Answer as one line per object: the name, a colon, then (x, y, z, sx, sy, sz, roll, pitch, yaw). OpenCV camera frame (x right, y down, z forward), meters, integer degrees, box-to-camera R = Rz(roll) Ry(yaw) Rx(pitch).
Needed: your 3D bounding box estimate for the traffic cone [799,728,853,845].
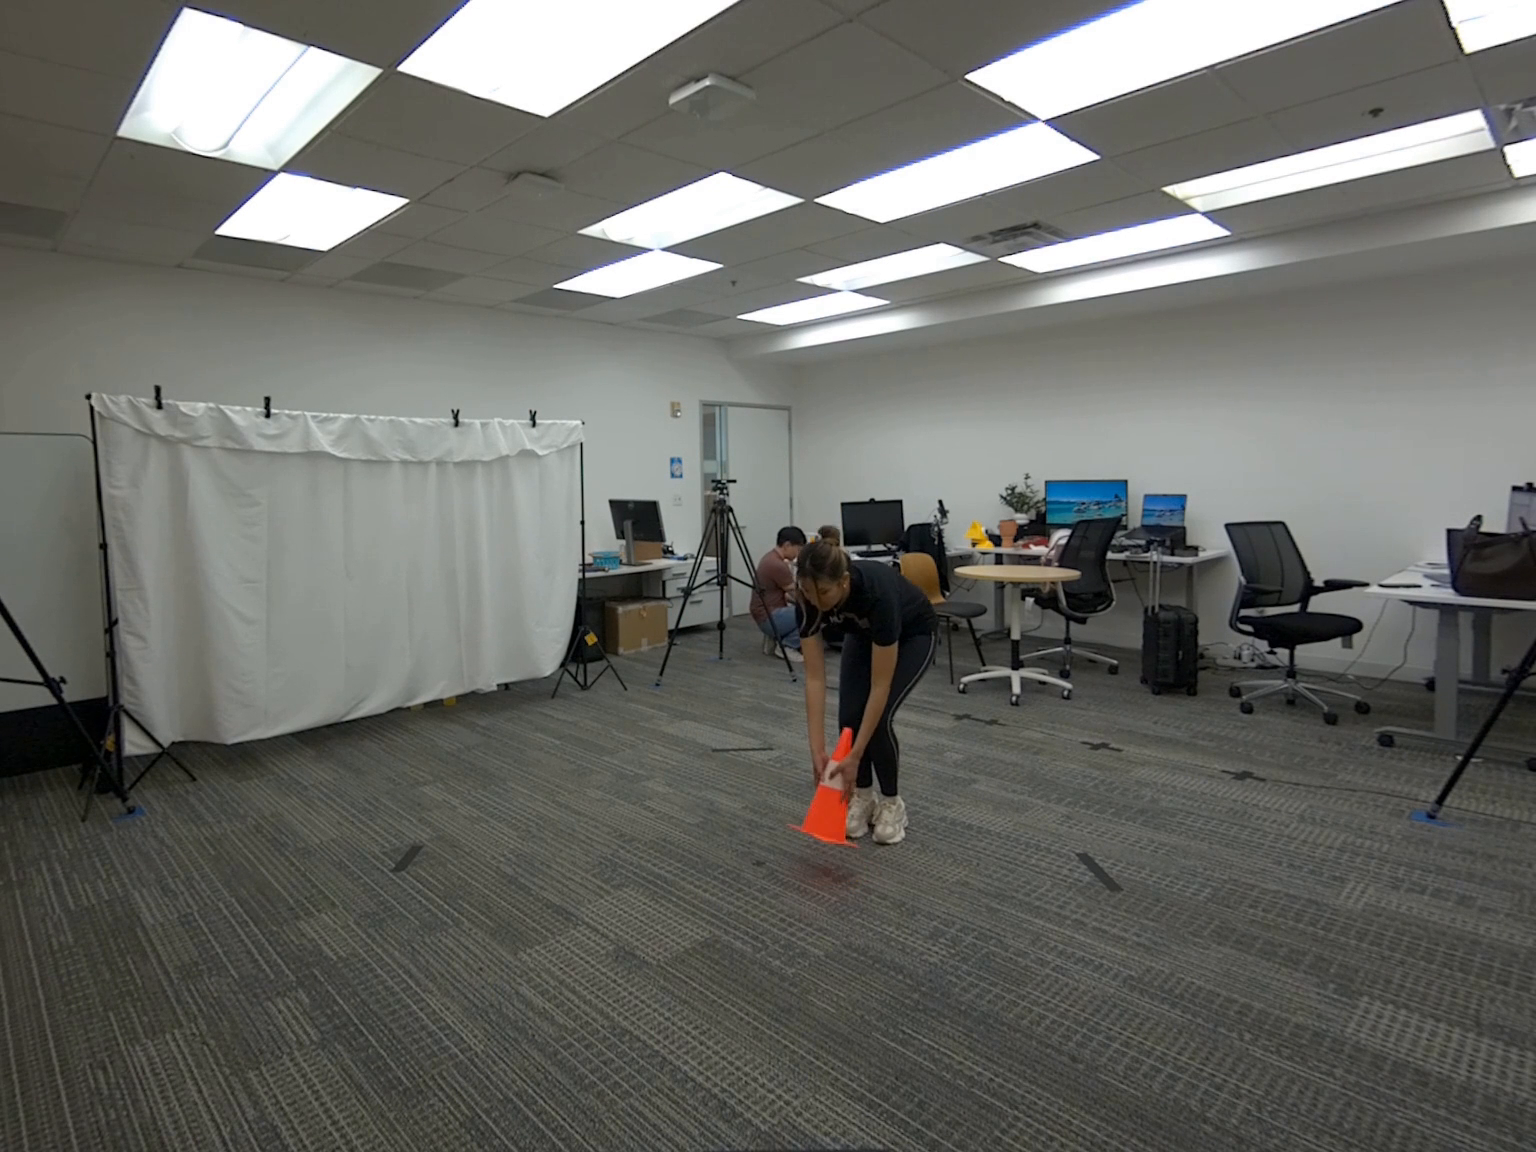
traffic cone: (0.244, 0.726, 3.026, 0.196, 0.386, 0.211, 21, -12, -34)
